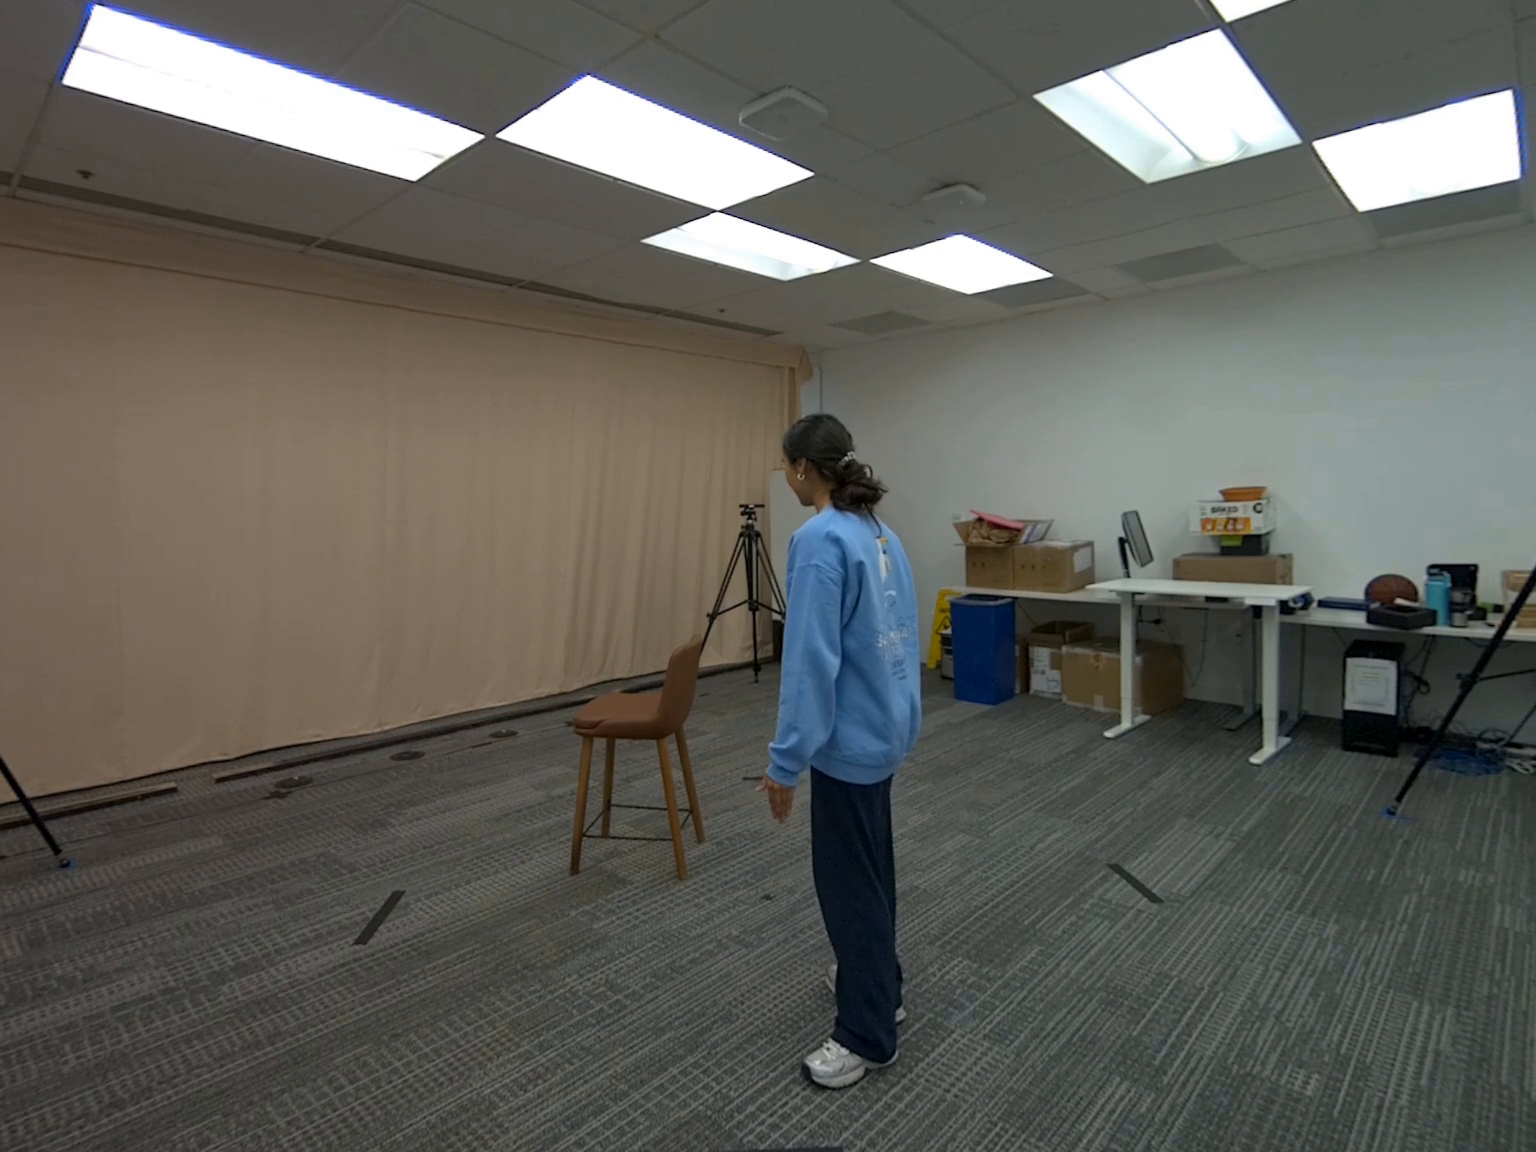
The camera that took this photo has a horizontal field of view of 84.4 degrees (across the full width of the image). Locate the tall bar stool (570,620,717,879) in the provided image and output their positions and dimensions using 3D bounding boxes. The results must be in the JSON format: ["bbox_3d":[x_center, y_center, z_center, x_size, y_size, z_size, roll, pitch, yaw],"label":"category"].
[{"bbox_3d":[-0.512,0.688,3.338,0.473,0.888,0.452,0,3,10],"label":"tall bar stool"}]
